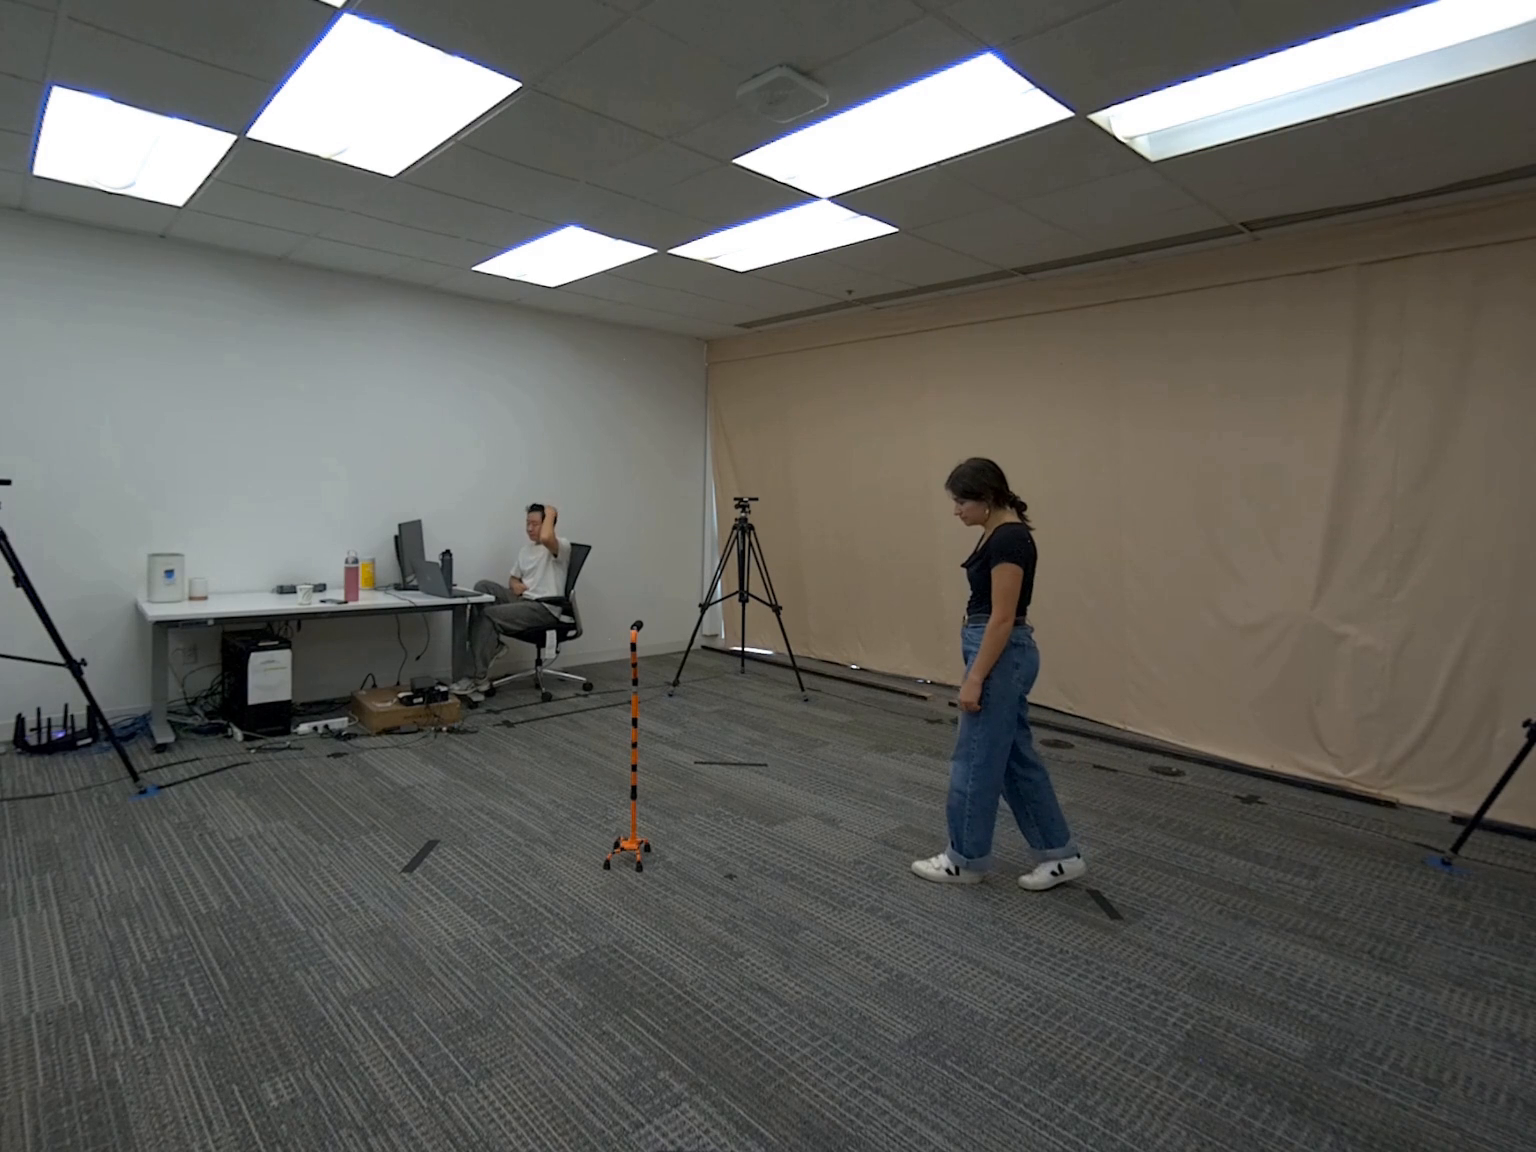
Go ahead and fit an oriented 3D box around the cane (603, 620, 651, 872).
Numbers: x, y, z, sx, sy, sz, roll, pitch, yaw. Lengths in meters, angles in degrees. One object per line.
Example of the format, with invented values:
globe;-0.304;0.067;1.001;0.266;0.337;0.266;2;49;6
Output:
cane;-0.531;0.632;3.210;0.152;0.906;0.206;2;3;2
